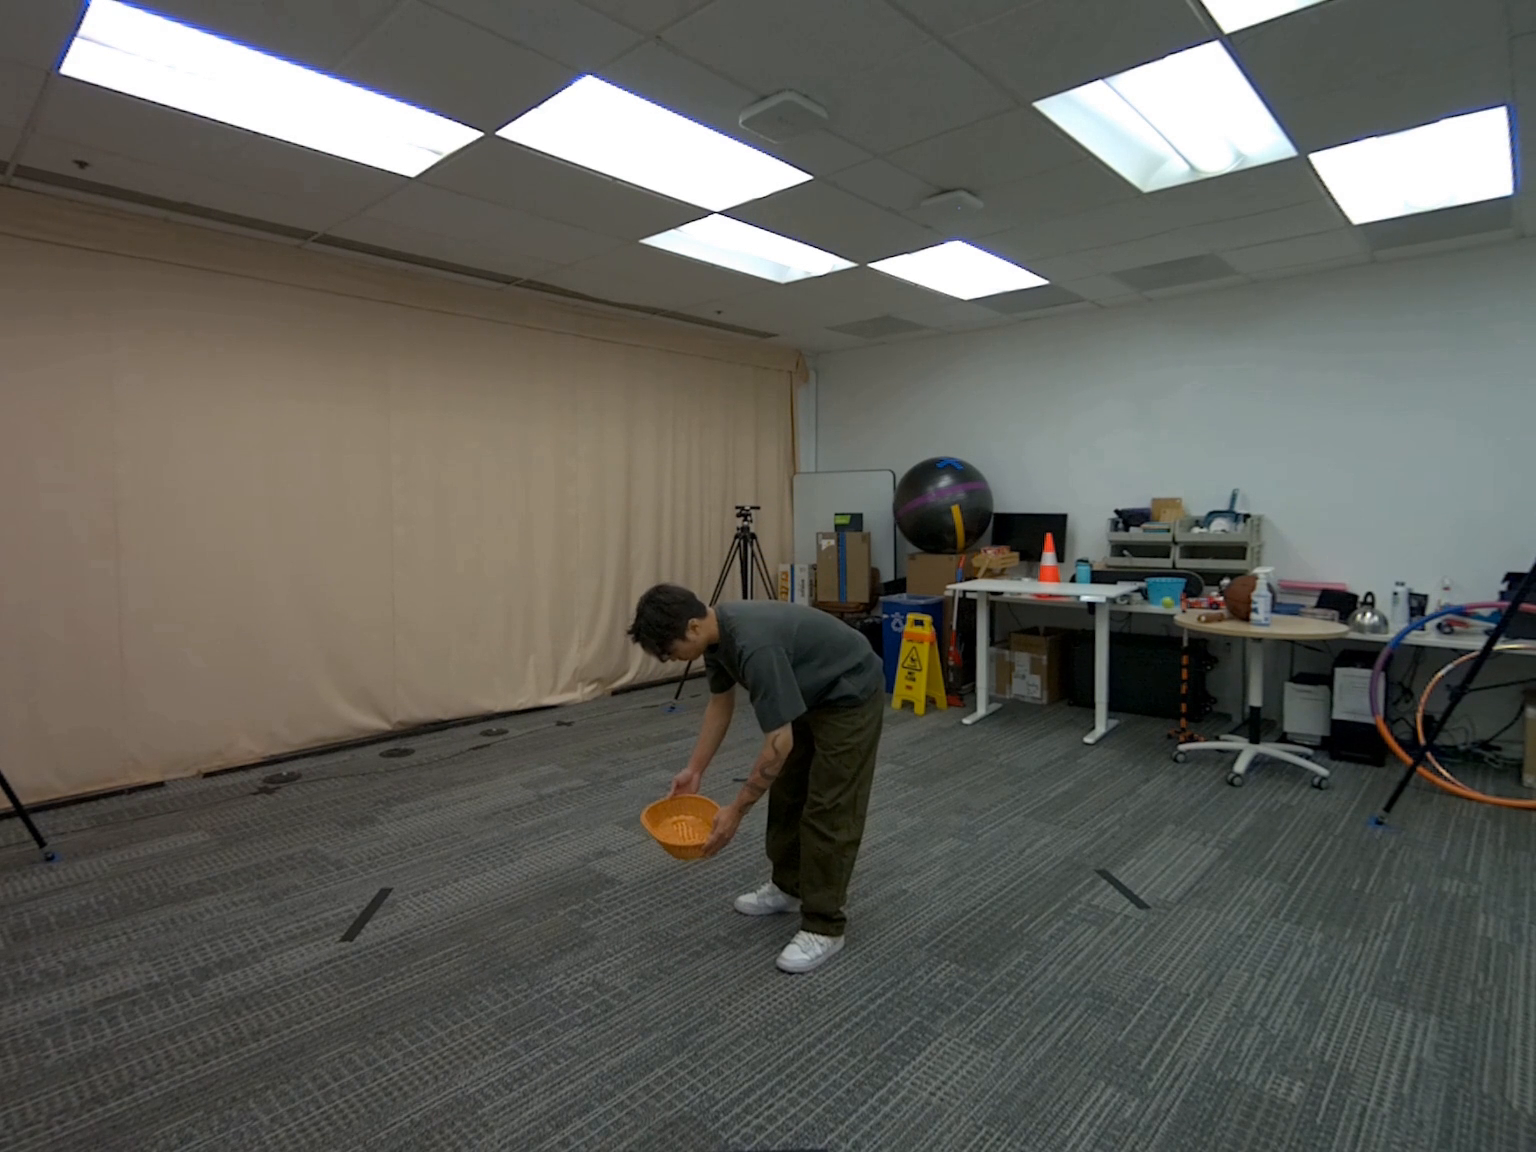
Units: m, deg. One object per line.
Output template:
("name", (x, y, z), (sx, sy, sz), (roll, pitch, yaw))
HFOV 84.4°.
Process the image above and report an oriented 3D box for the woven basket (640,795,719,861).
("woven basket", (-0.250, 0.787, 2.613), (0.246, 0.073, 0.361), (-11, 11, -28))
